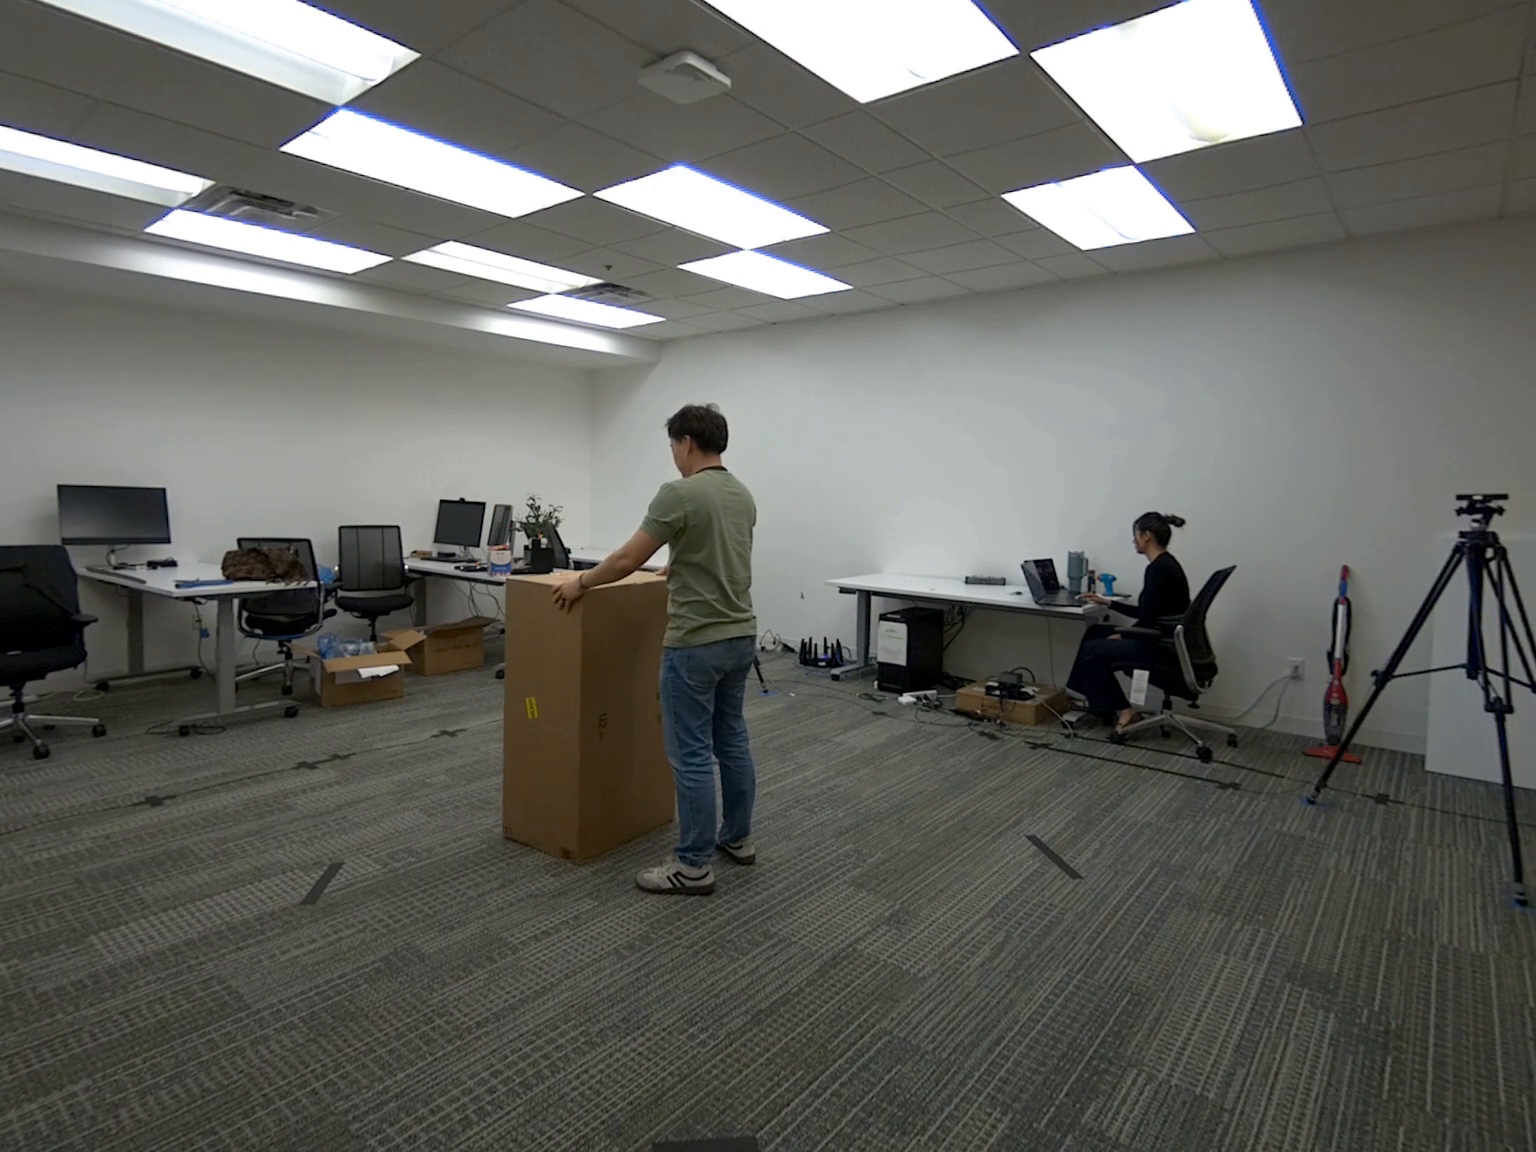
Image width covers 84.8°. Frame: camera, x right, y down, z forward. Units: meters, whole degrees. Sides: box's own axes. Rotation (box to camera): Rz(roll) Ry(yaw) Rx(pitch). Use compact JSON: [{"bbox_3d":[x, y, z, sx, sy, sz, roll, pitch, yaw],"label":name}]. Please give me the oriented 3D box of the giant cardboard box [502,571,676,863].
[{"bbox_3d":[-0.716,0.512,3.430,0.440,1.022,0.561,5,5,34],"label":"giant cardboard box"}]
